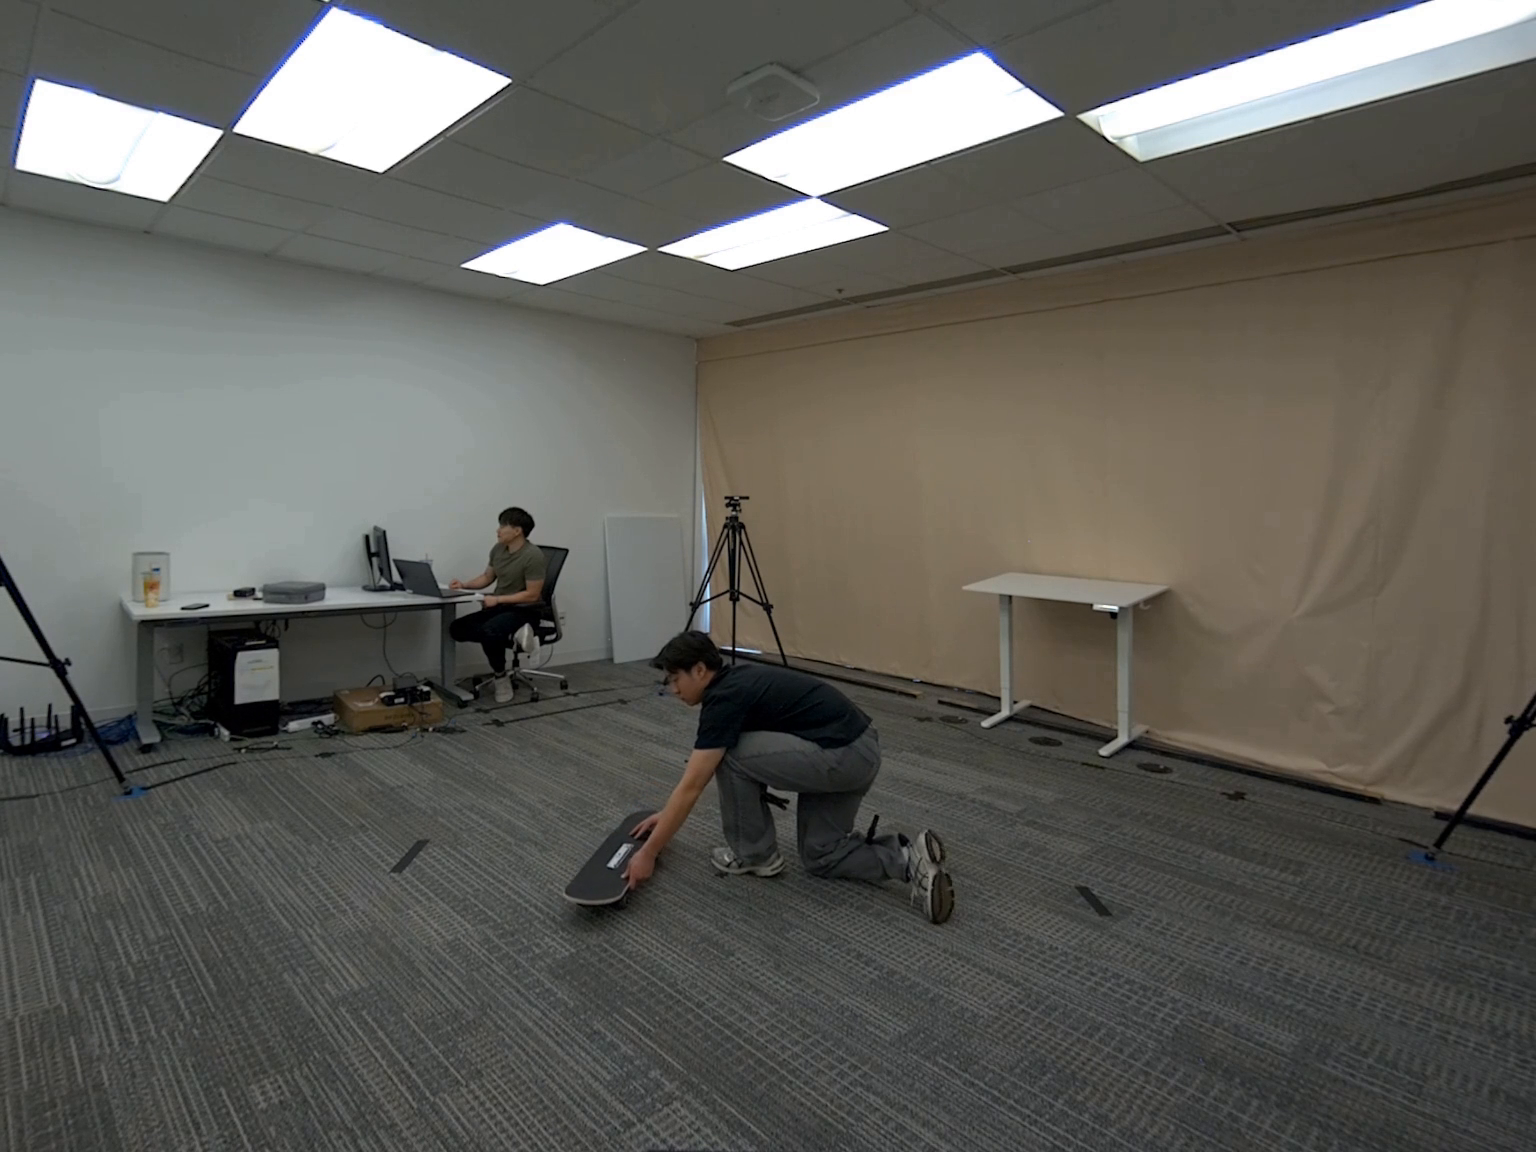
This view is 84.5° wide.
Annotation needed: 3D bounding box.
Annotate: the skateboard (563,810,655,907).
[{"bbox_3d":[-0.531,1.033,3.050,0.195,0.110,0.781,2,5,8],"label":"skateboard"}]
